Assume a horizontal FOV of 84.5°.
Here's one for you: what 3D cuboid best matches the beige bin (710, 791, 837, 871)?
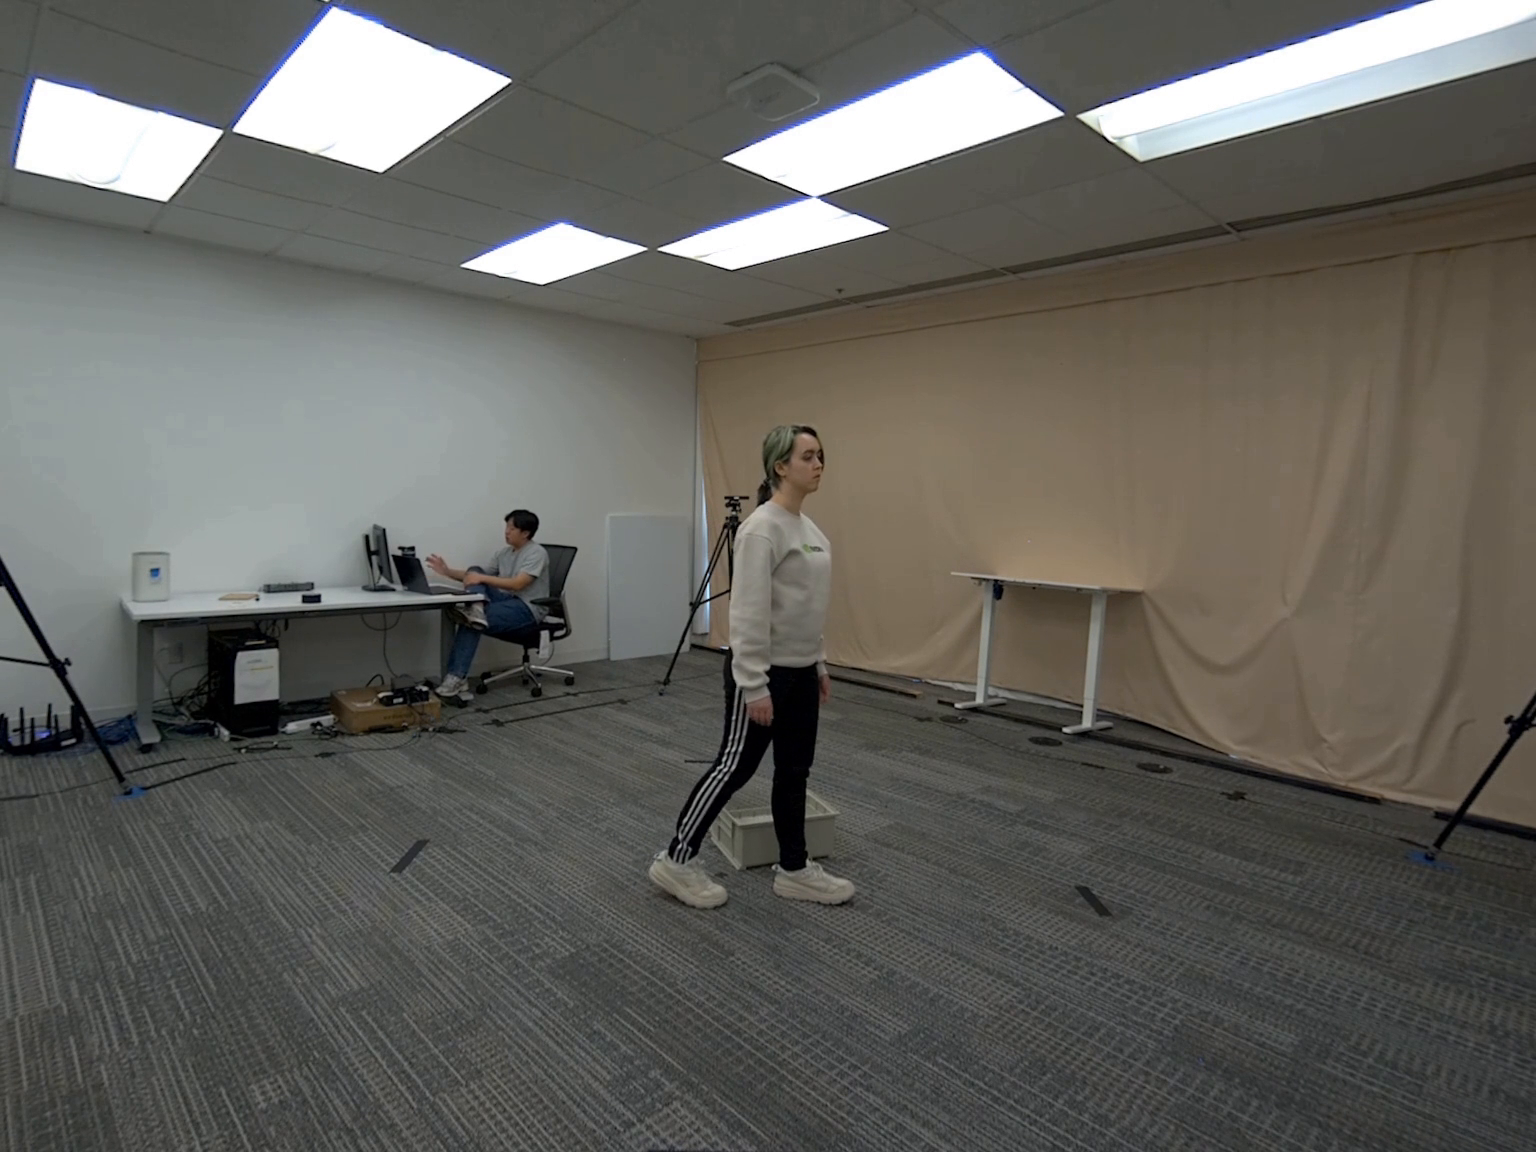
[{"bbox_3d":[0.005,0.995,3.373,0.415,0.188,0.384,0,5,-22],"label":"beige bin"}]
